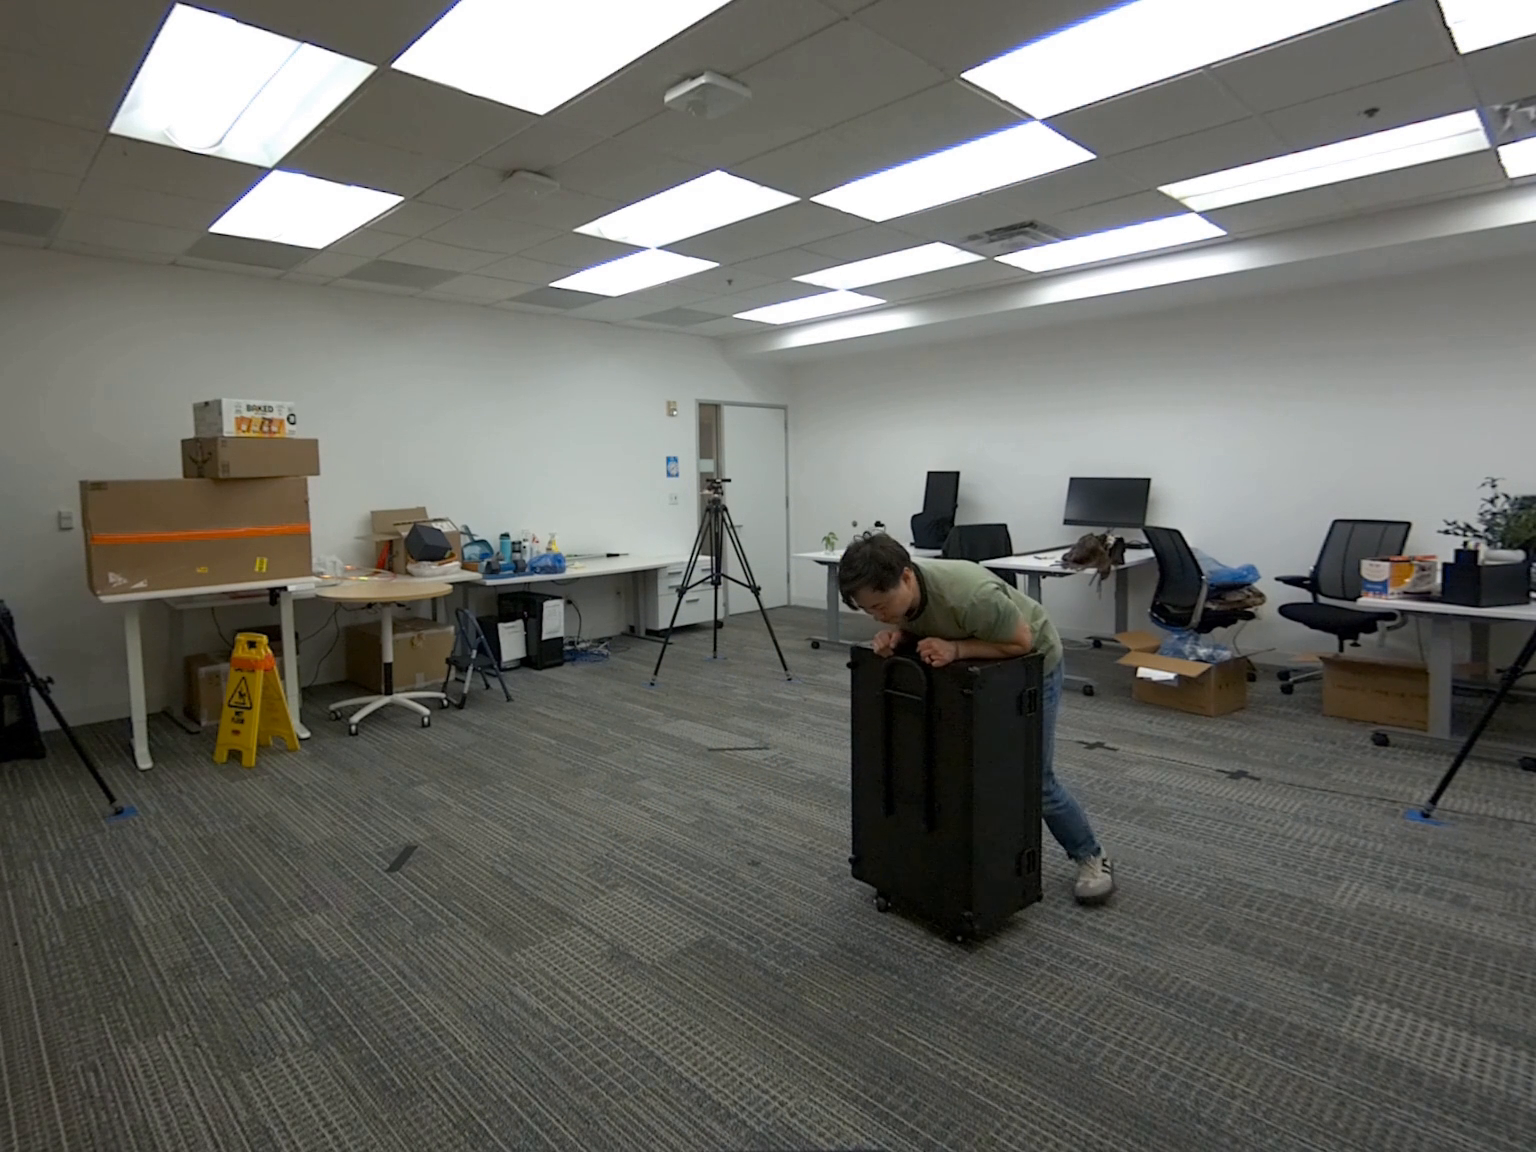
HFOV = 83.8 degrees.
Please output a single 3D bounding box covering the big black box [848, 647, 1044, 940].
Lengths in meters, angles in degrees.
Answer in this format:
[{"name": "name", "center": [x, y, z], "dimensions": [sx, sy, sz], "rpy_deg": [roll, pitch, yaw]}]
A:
[{"name": "big black box", "center": [0.558, 0.656, 2.711], "dimensions": [0.386, 0.858, 0.537], "rpy_deg": [-5, 6, -38]}]
